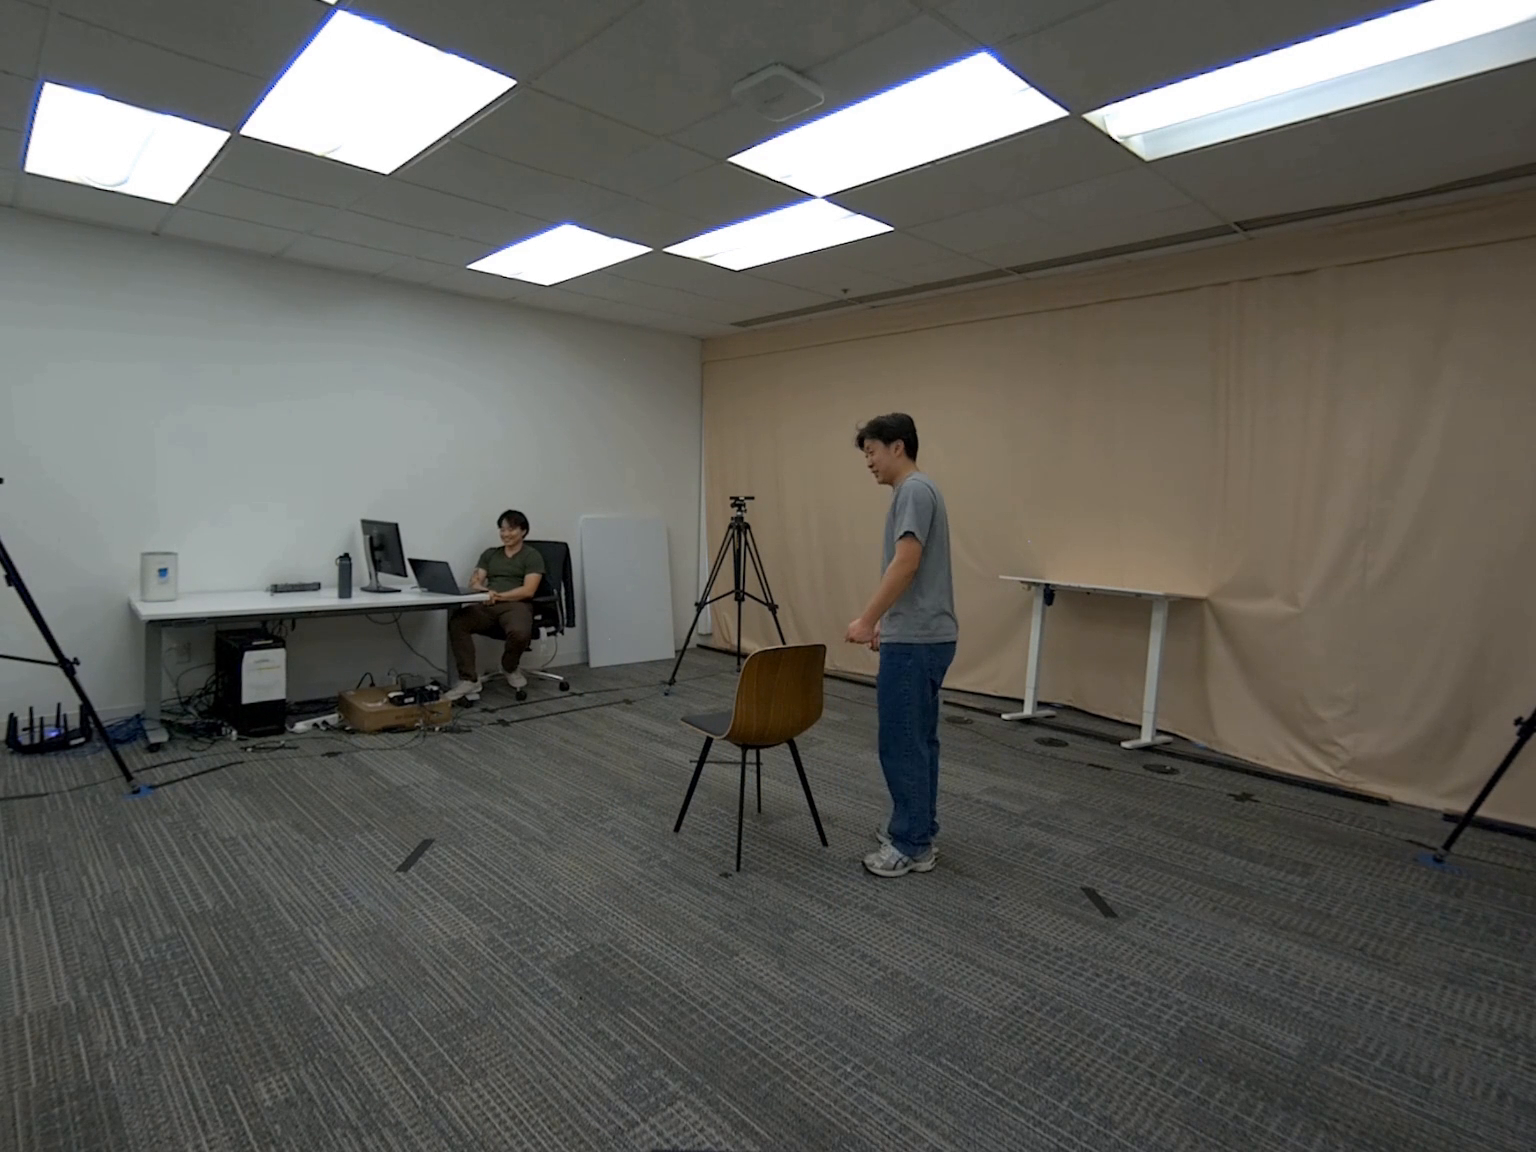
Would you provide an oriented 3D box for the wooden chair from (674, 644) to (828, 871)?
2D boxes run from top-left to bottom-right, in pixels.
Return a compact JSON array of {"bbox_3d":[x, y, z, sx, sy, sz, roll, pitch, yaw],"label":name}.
[{"bbox_3d":[-0.076,0.649,3.412,0.467,0.873,0.537,-1,9,-37],"label":"wooden chair"}]
